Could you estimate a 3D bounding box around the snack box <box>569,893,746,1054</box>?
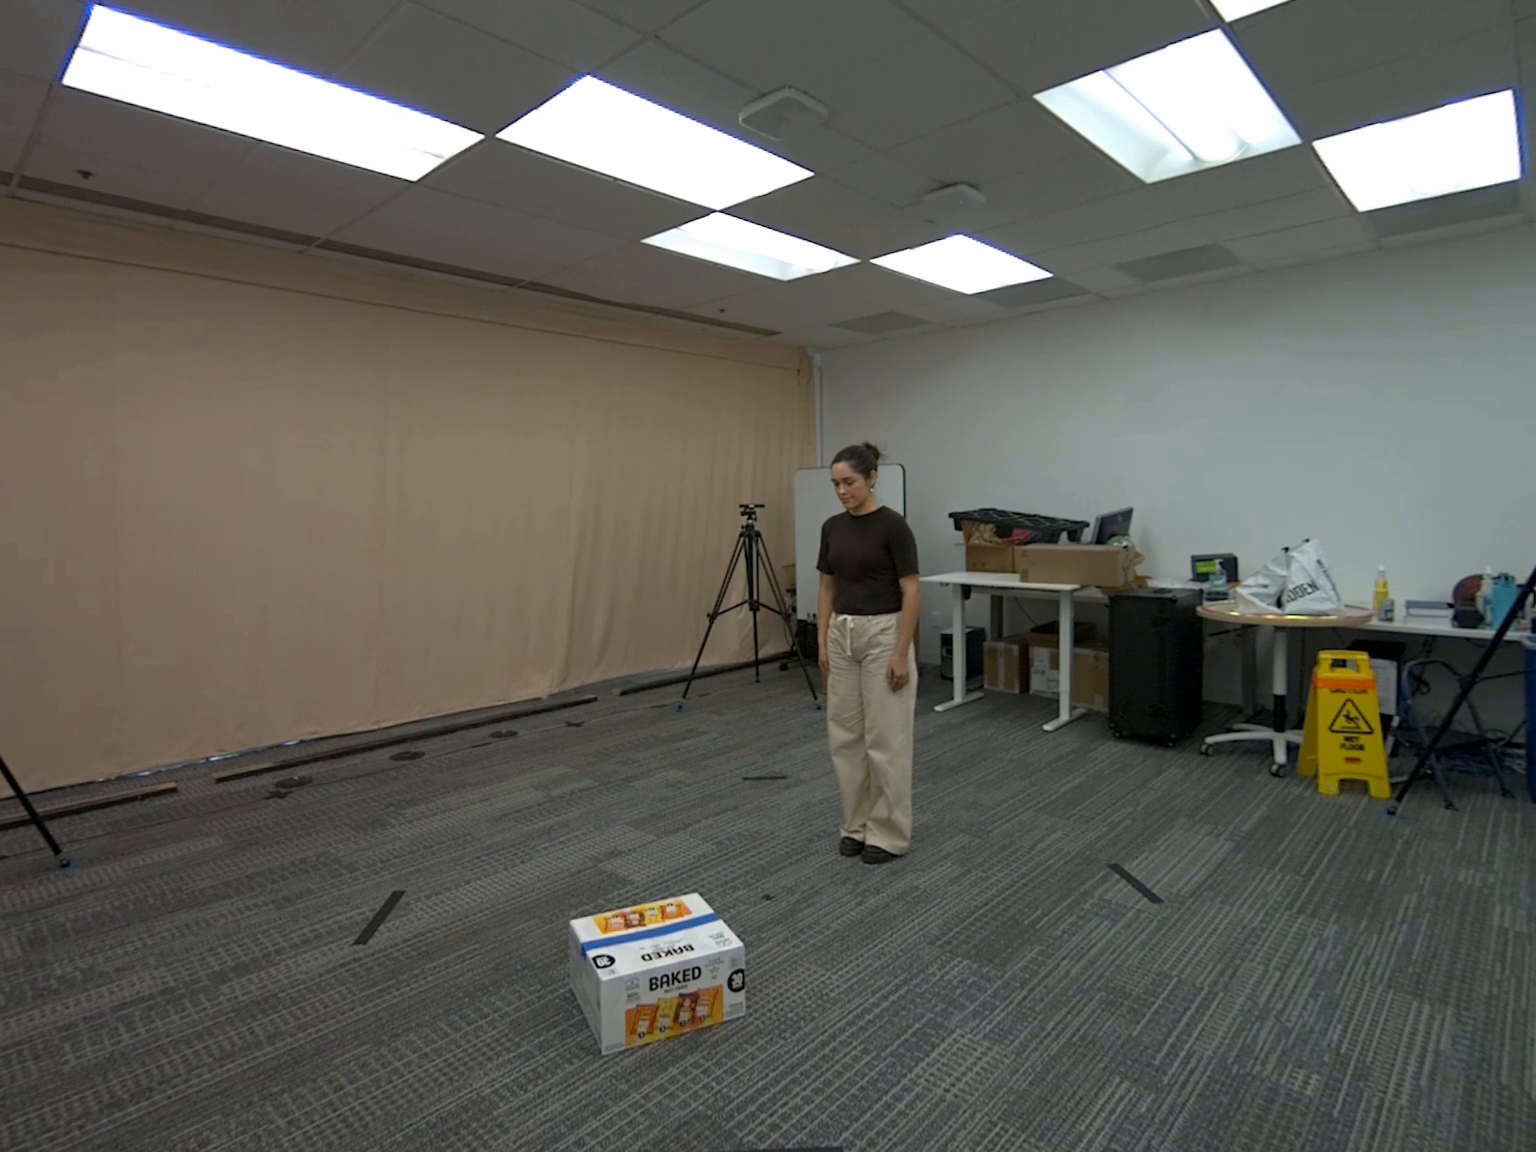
[{"bbox_3d":[-0.314,1.100,2.354,0.396,0.205,0.349,-3,5,-25],"label":"snack box"}]
